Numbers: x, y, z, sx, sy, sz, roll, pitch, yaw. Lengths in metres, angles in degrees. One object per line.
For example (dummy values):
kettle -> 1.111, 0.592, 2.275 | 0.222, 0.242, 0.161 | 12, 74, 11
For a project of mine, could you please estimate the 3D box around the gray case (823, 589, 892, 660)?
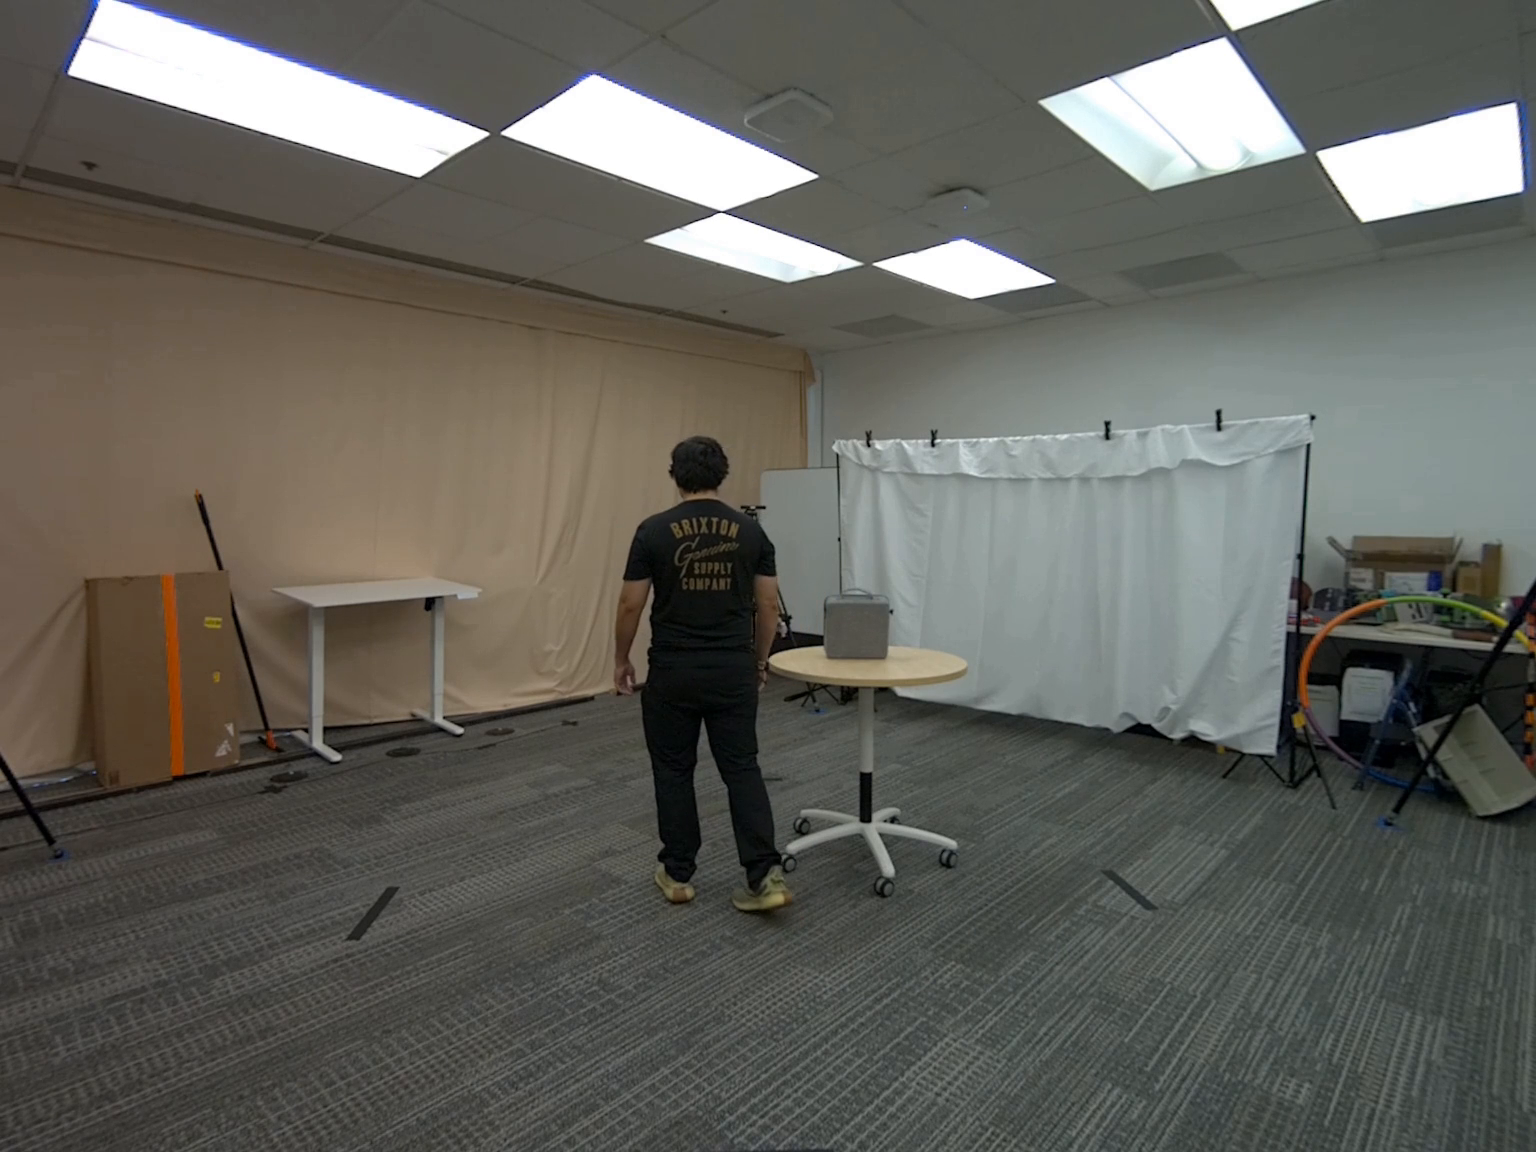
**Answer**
gray case -> 0.362, 0.203, 3.353 | 0.258, 0.258, 0.105 | -1, 13, 5
